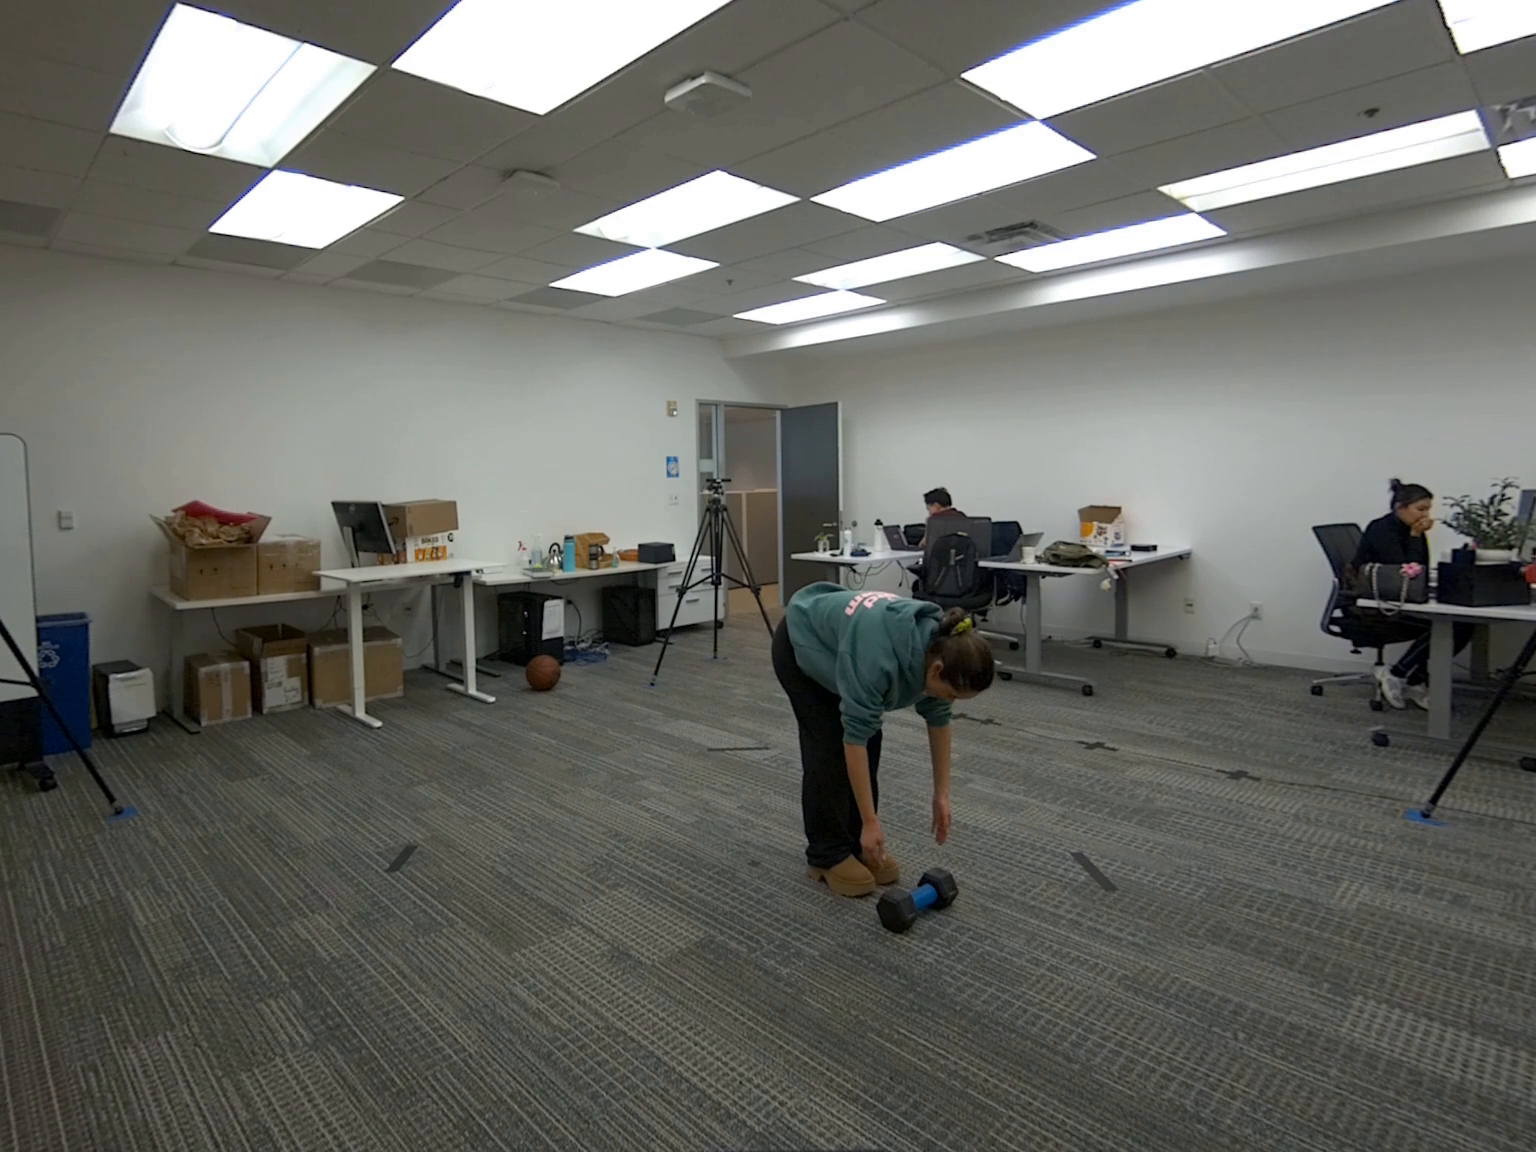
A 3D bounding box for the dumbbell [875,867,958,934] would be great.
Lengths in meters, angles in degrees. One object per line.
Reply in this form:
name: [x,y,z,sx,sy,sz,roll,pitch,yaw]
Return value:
dumbbell: [0.482,1.026,2.710,0.286,0.121,0.113,-6,38,-40]
